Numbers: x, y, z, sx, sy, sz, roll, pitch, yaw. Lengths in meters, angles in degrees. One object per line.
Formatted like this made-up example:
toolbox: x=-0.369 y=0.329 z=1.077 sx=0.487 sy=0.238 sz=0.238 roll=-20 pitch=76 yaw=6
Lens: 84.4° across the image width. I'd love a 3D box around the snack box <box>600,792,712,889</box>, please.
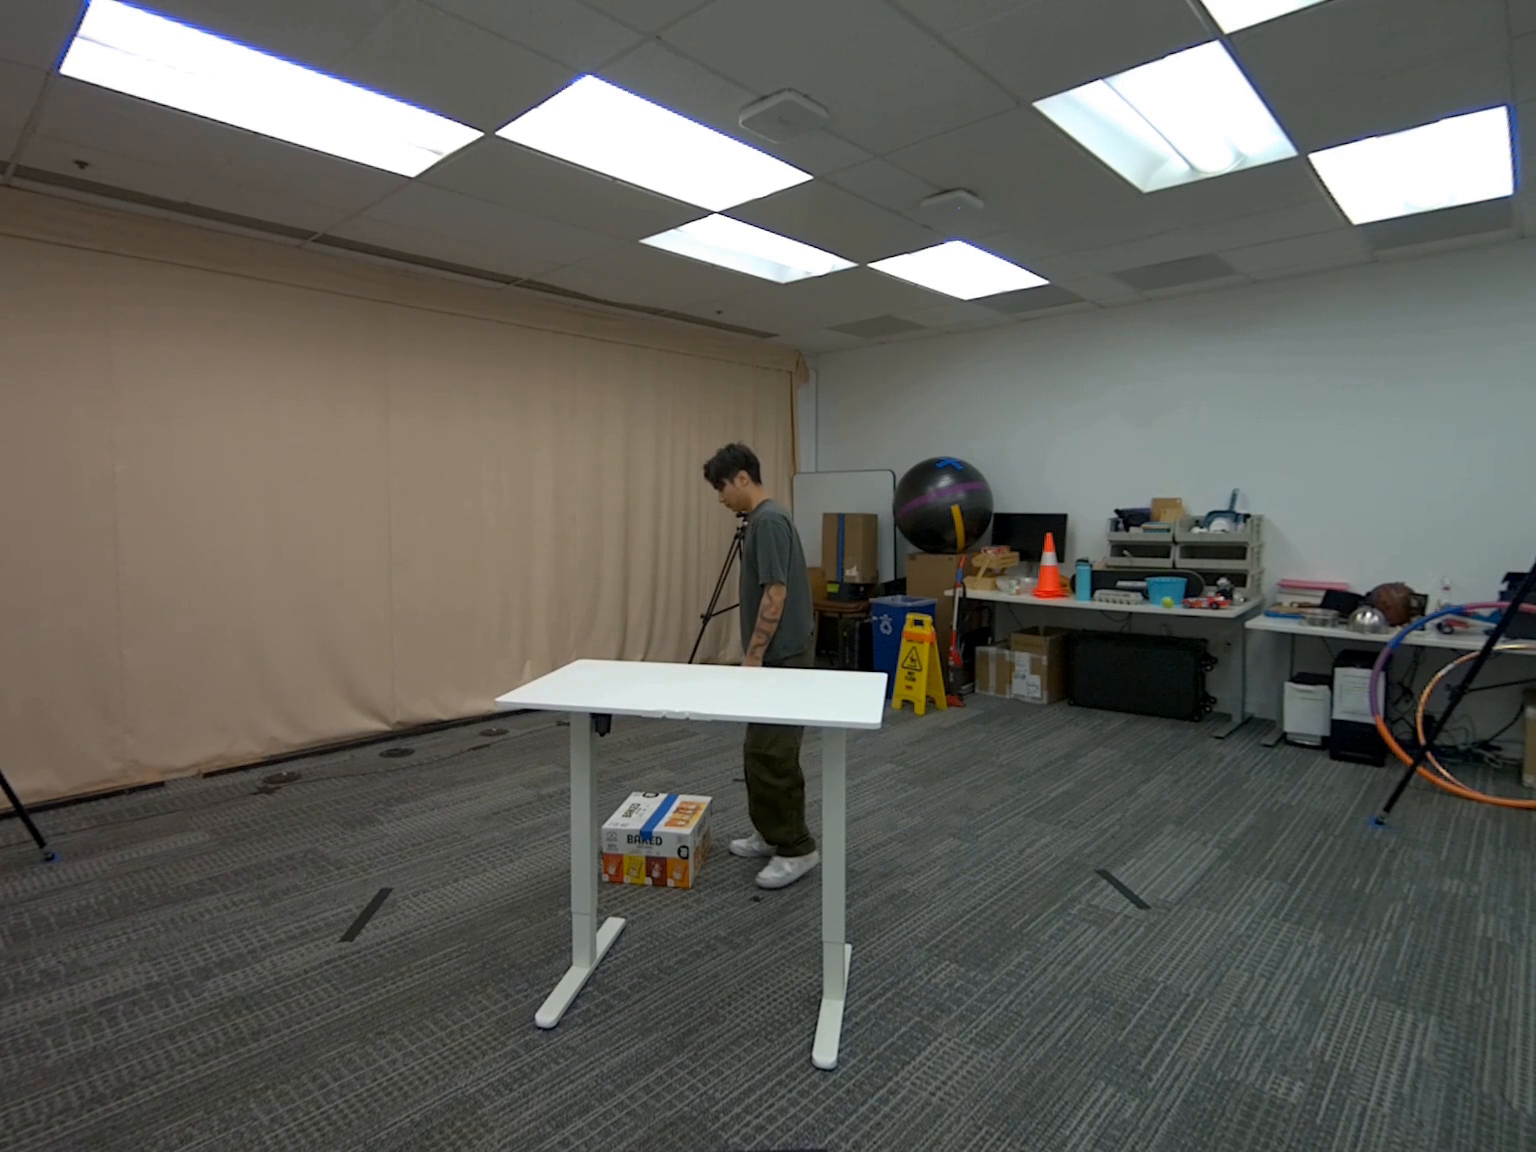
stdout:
snack box: x=-0.421 y=1.023 z=3.291 sx=0.344 sy=0.205 sz=0.401 roll=0 pitch=5 yaw=10
